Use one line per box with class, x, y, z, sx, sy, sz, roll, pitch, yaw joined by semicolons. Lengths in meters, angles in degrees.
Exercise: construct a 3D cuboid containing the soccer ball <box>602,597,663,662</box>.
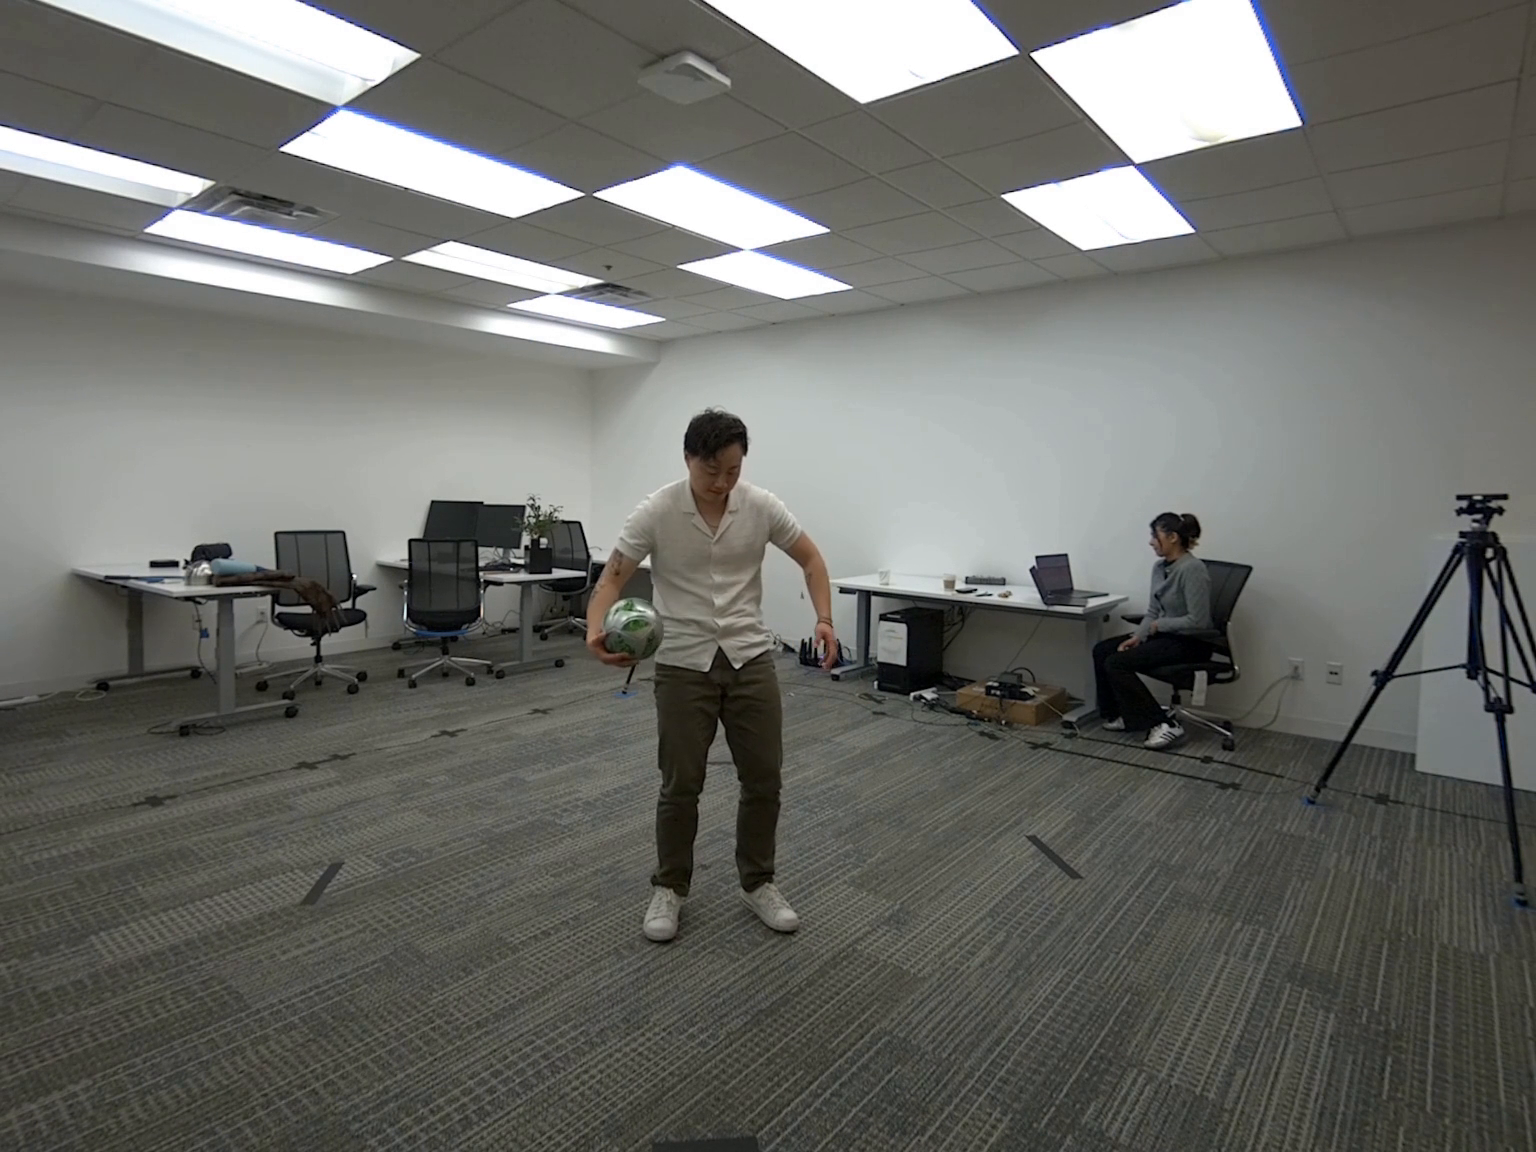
soccer ball;-0.398;0.157;2.524;0.187;0.187;0.188;1;4;-2
